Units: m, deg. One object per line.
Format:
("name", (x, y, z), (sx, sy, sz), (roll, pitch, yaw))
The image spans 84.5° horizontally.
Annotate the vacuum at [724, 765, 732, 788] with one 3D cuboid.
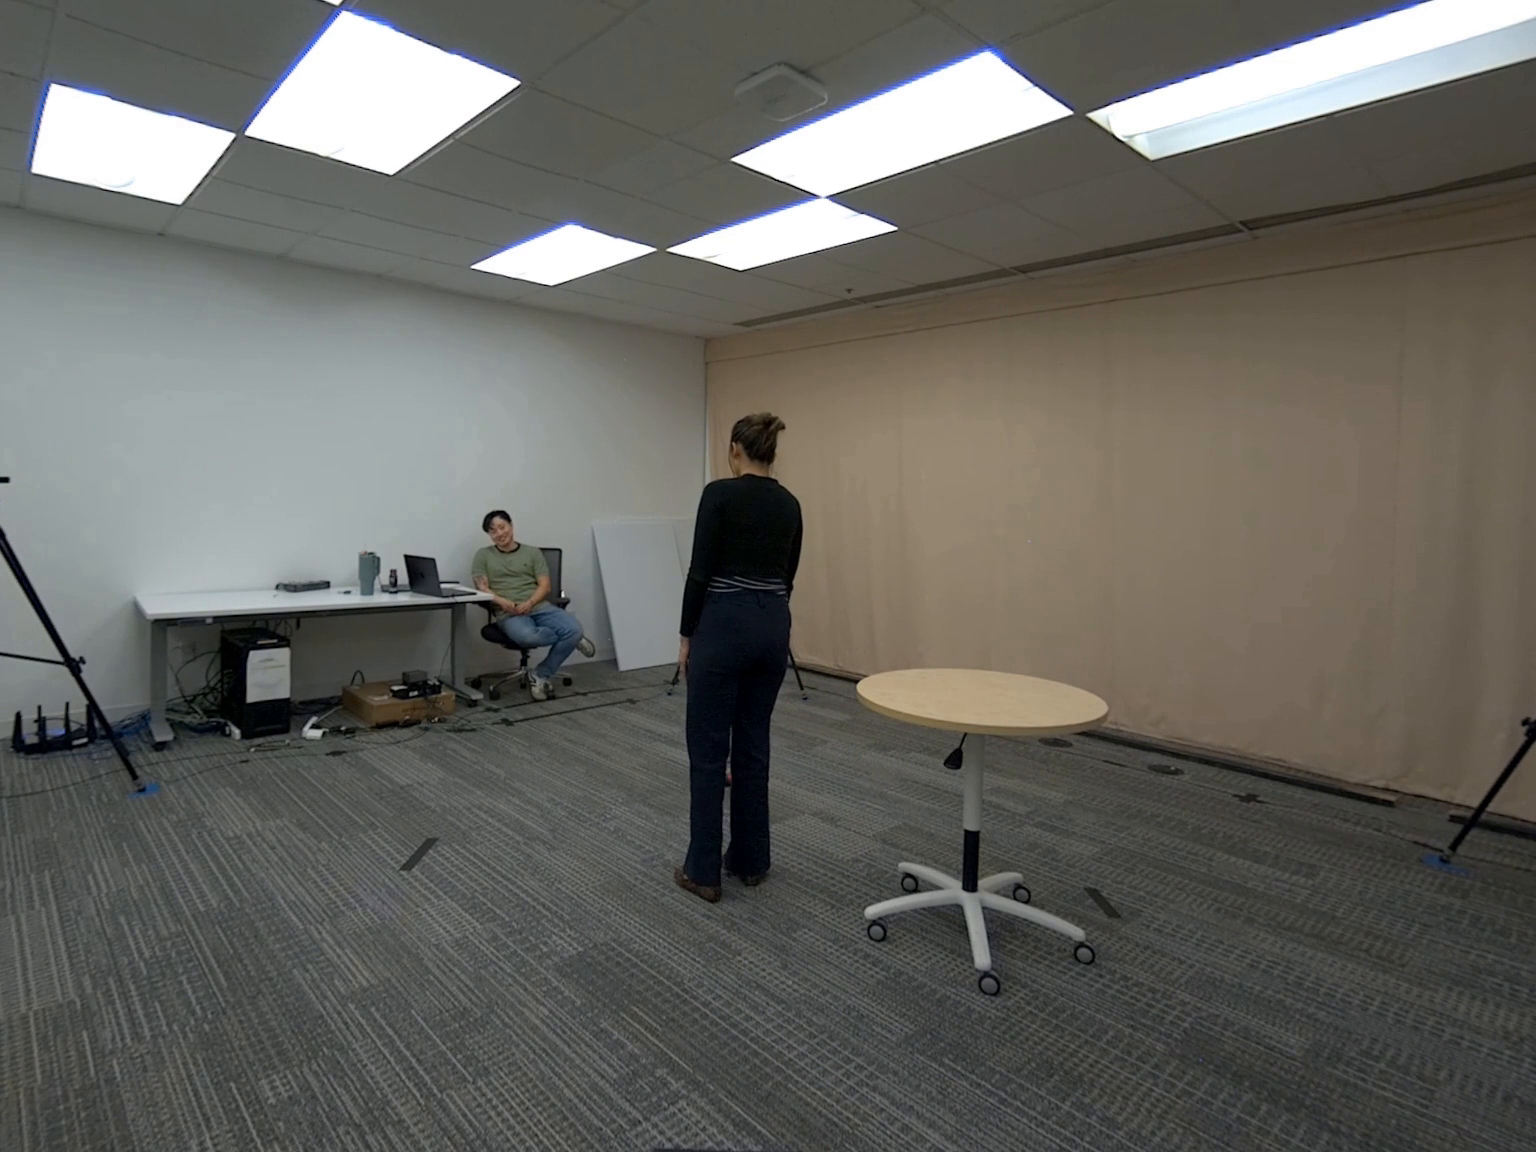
("vacuum", (-0.092, 0.653, 3.768), (0.250, 1.031, 0.147), (1, 46, -10))
